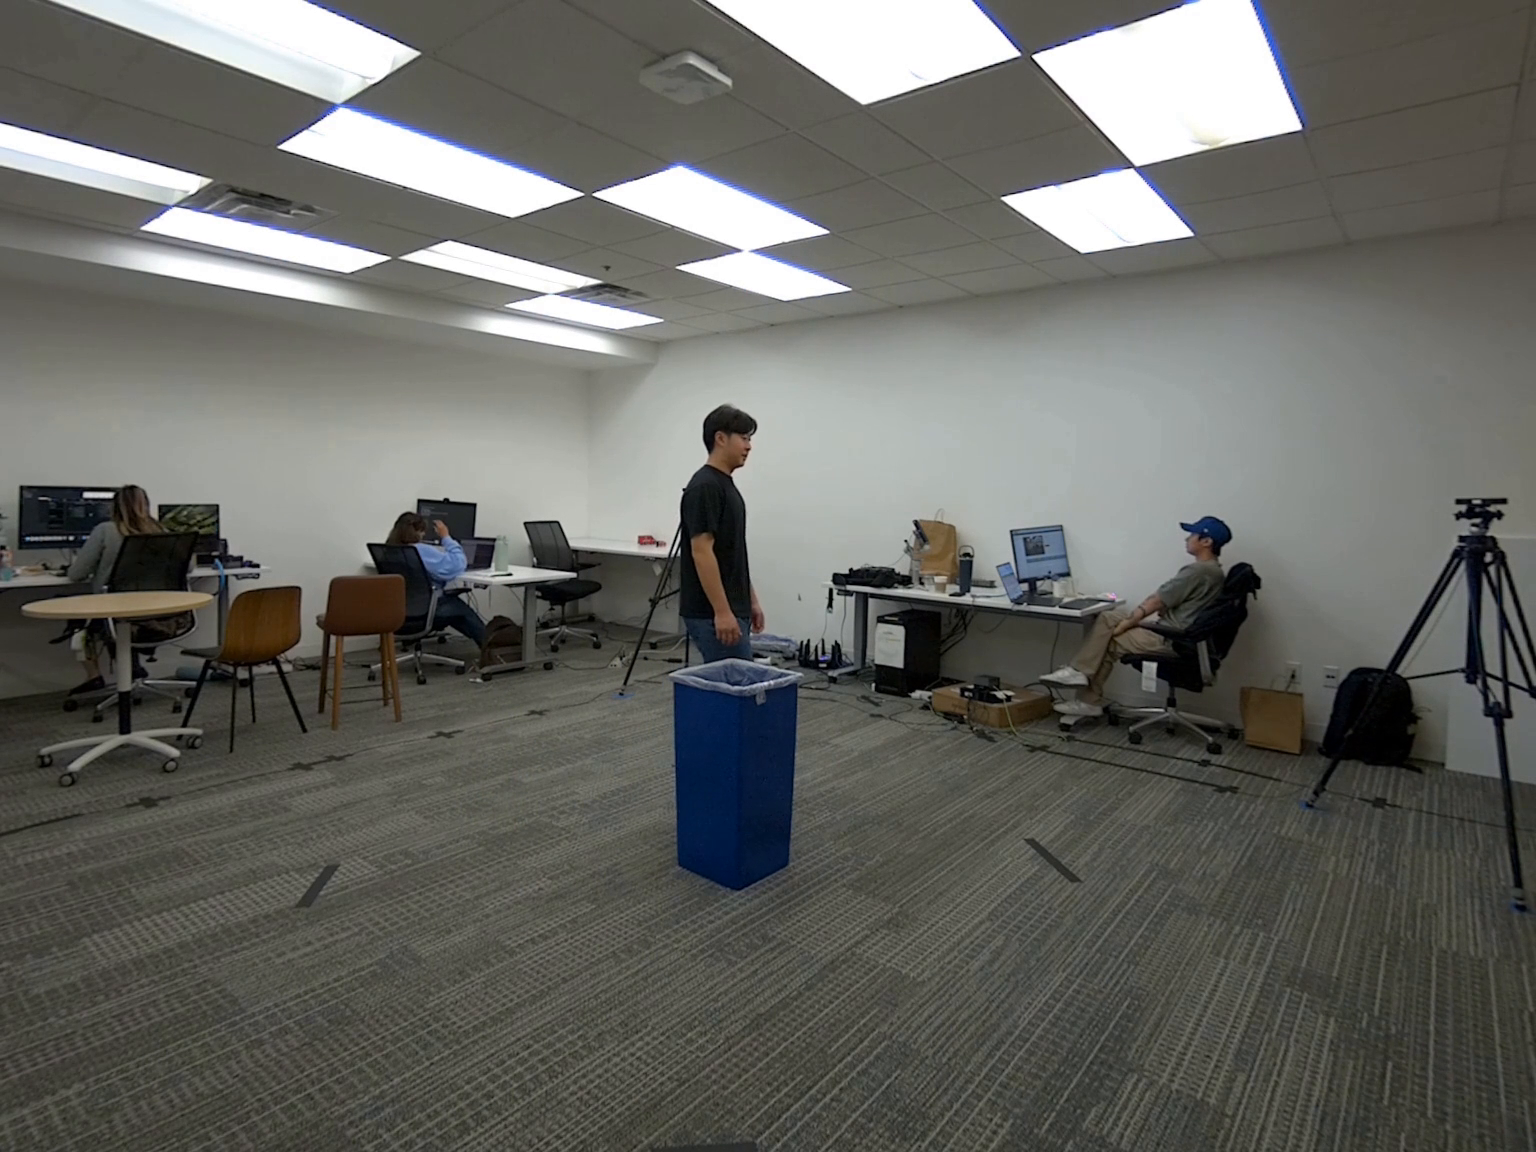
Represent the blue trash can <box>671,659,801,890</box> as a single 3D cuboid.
[{"bbox_3d":[-0.137,0.707,3.138,0.387,0.712,0.366,4,4,40],"label":"blue trash can"}]
